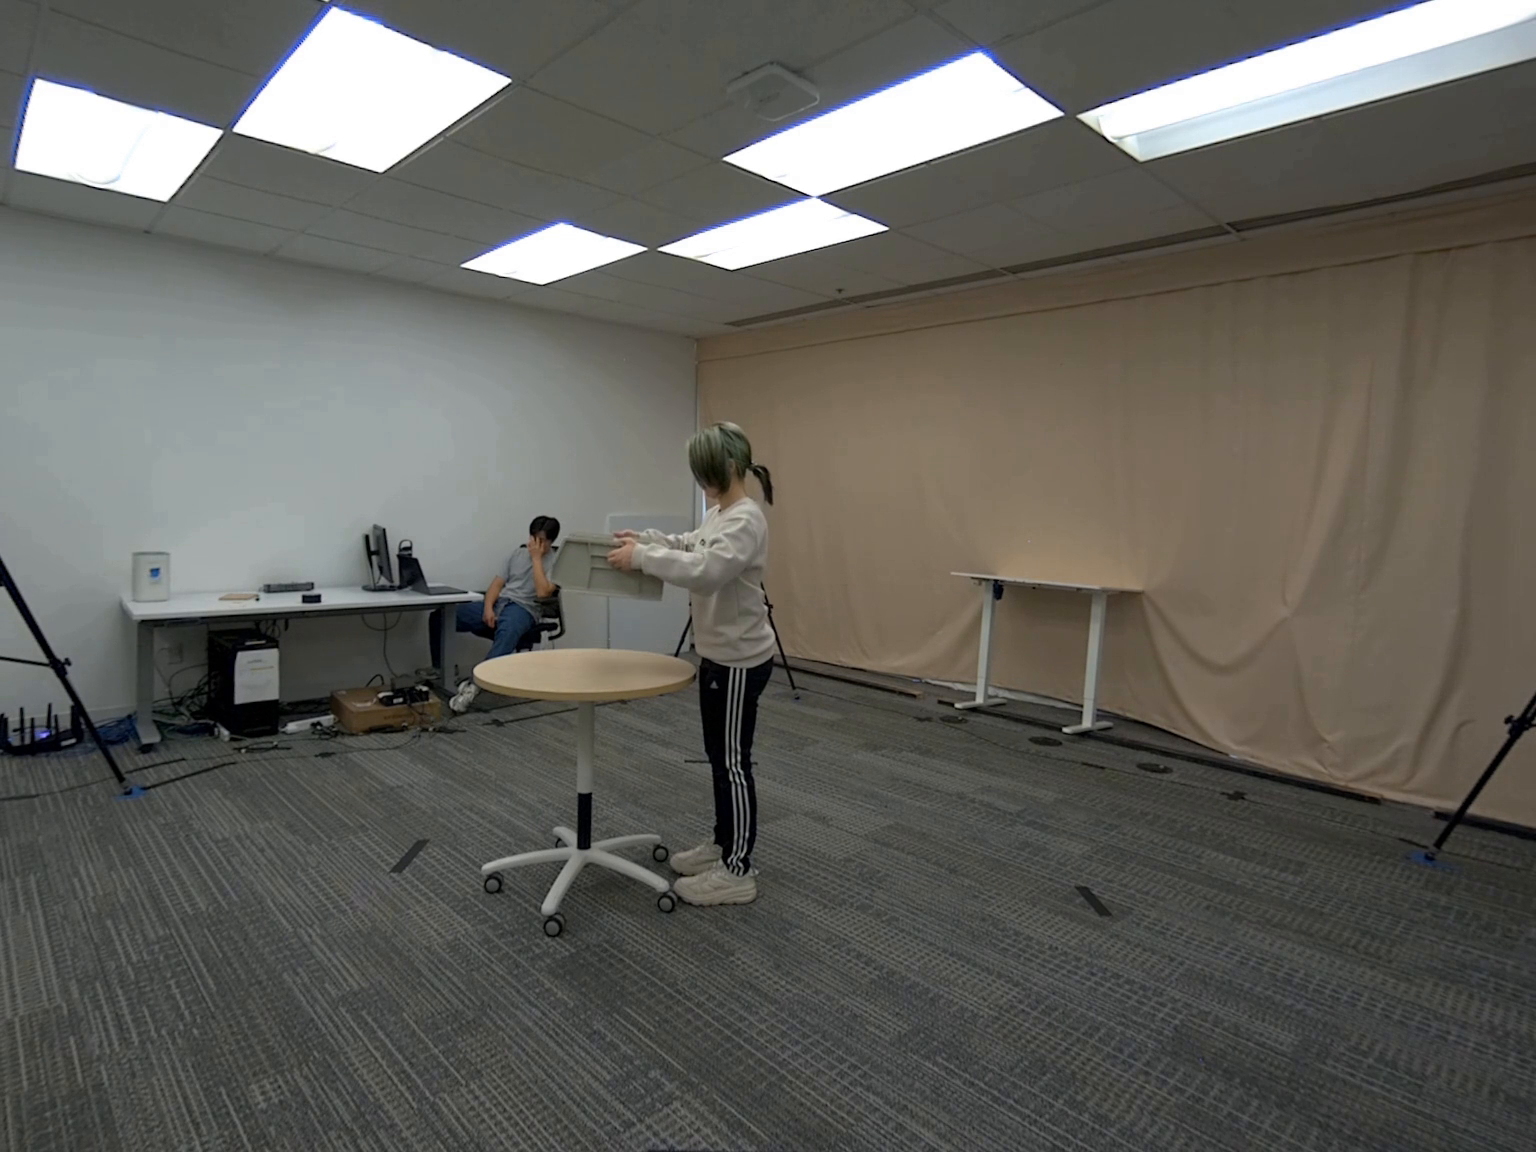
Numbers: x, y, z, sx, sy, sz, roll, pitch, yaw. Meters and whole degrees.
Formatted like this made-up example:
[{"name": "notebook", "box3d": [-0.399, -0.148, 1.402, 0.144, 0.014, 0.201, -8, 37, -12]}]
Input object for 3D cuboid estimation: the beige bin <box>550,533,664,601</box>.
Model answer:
[{"name": "beige bin", "box3d": [-0.558, -0.028, 2.916, 0.375, 0.188, 0.426, 6, 5, -8]}]
